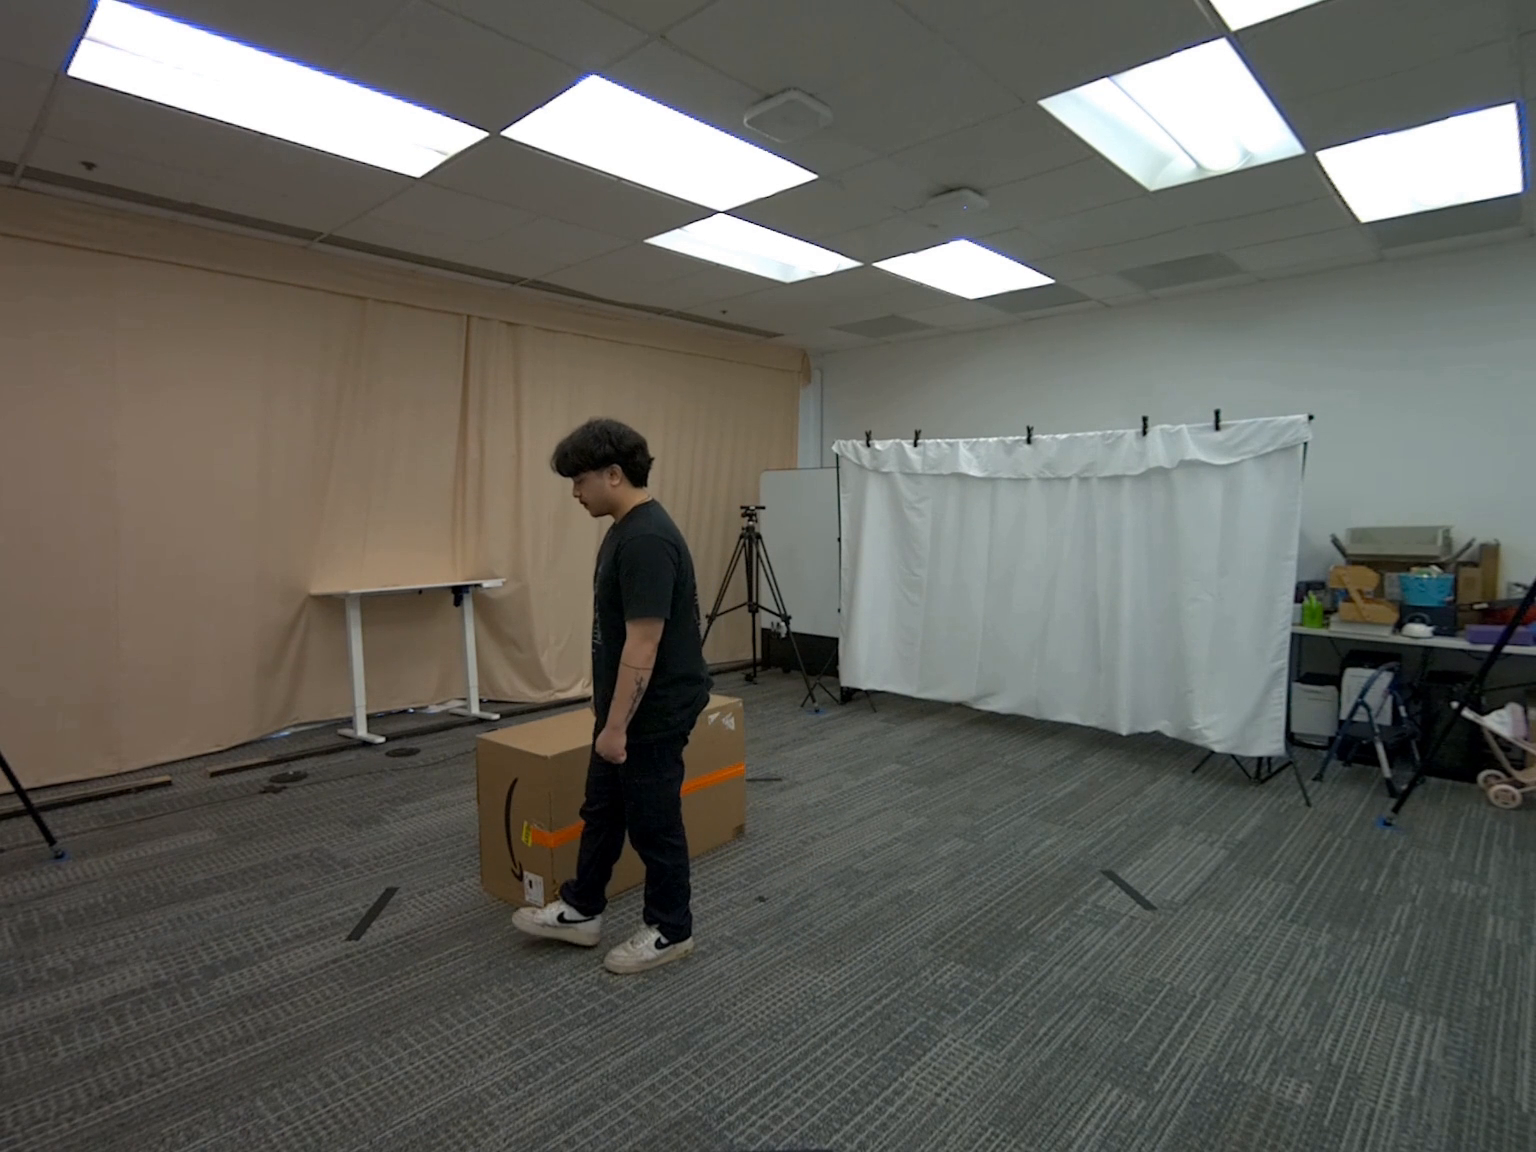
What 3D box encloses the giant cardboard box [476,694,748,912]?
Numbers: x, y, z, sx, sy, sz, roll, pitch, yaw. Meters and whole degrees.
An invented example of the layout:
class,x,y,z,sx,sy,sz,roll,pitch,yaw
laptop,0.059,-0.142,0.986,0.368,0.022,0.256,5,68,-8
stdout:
class,x,y,z,sx,sy,sz,roll,pitch,yaw
giant cardboard box,-0.577,0.836,3.311,0.461,0.582,0.997,3,6,39
